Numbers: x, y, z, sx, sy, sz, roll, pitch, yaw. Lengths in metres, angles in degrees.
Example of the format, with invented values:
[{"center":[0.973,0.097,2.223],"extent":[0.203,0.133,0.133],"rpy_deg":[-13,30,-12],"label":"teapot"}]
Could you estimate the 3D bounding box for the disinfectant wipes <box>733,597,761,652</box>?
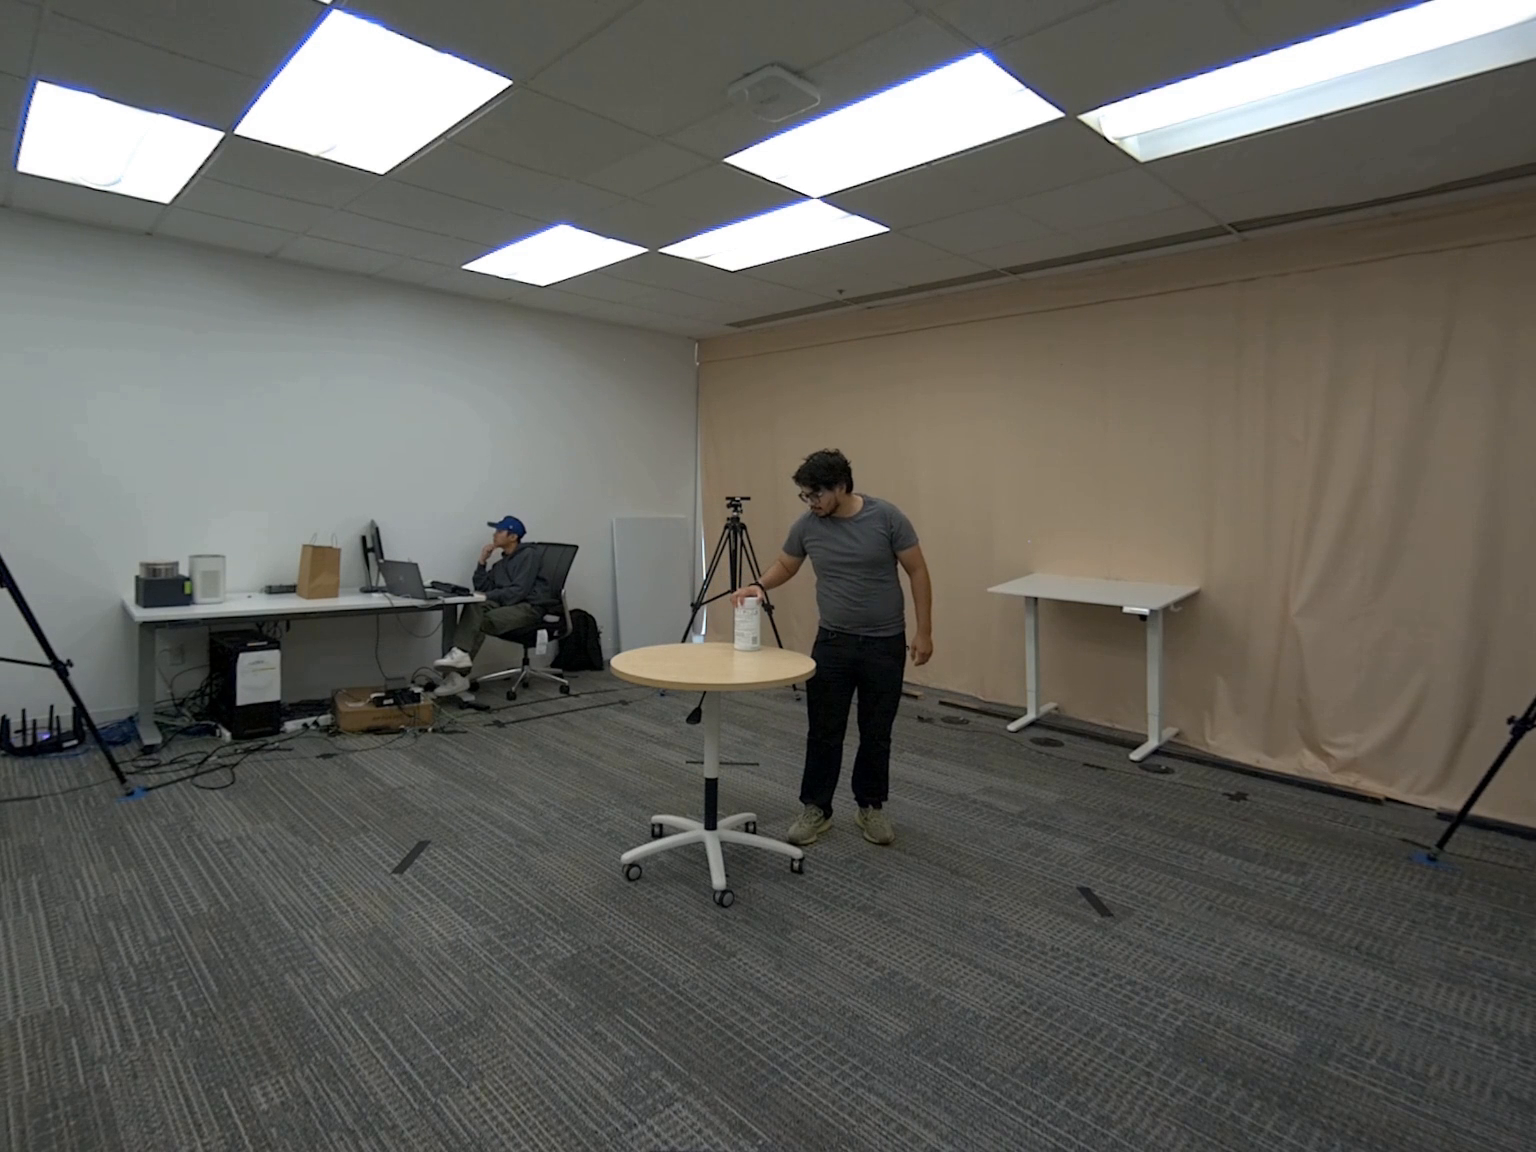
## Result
[{"center":[-0.091,0.190,3.401],"extent":[0.118,0.217,0.118],"rpy_deg":[1,3,-1],"label":"disinfectant wipes"}]
